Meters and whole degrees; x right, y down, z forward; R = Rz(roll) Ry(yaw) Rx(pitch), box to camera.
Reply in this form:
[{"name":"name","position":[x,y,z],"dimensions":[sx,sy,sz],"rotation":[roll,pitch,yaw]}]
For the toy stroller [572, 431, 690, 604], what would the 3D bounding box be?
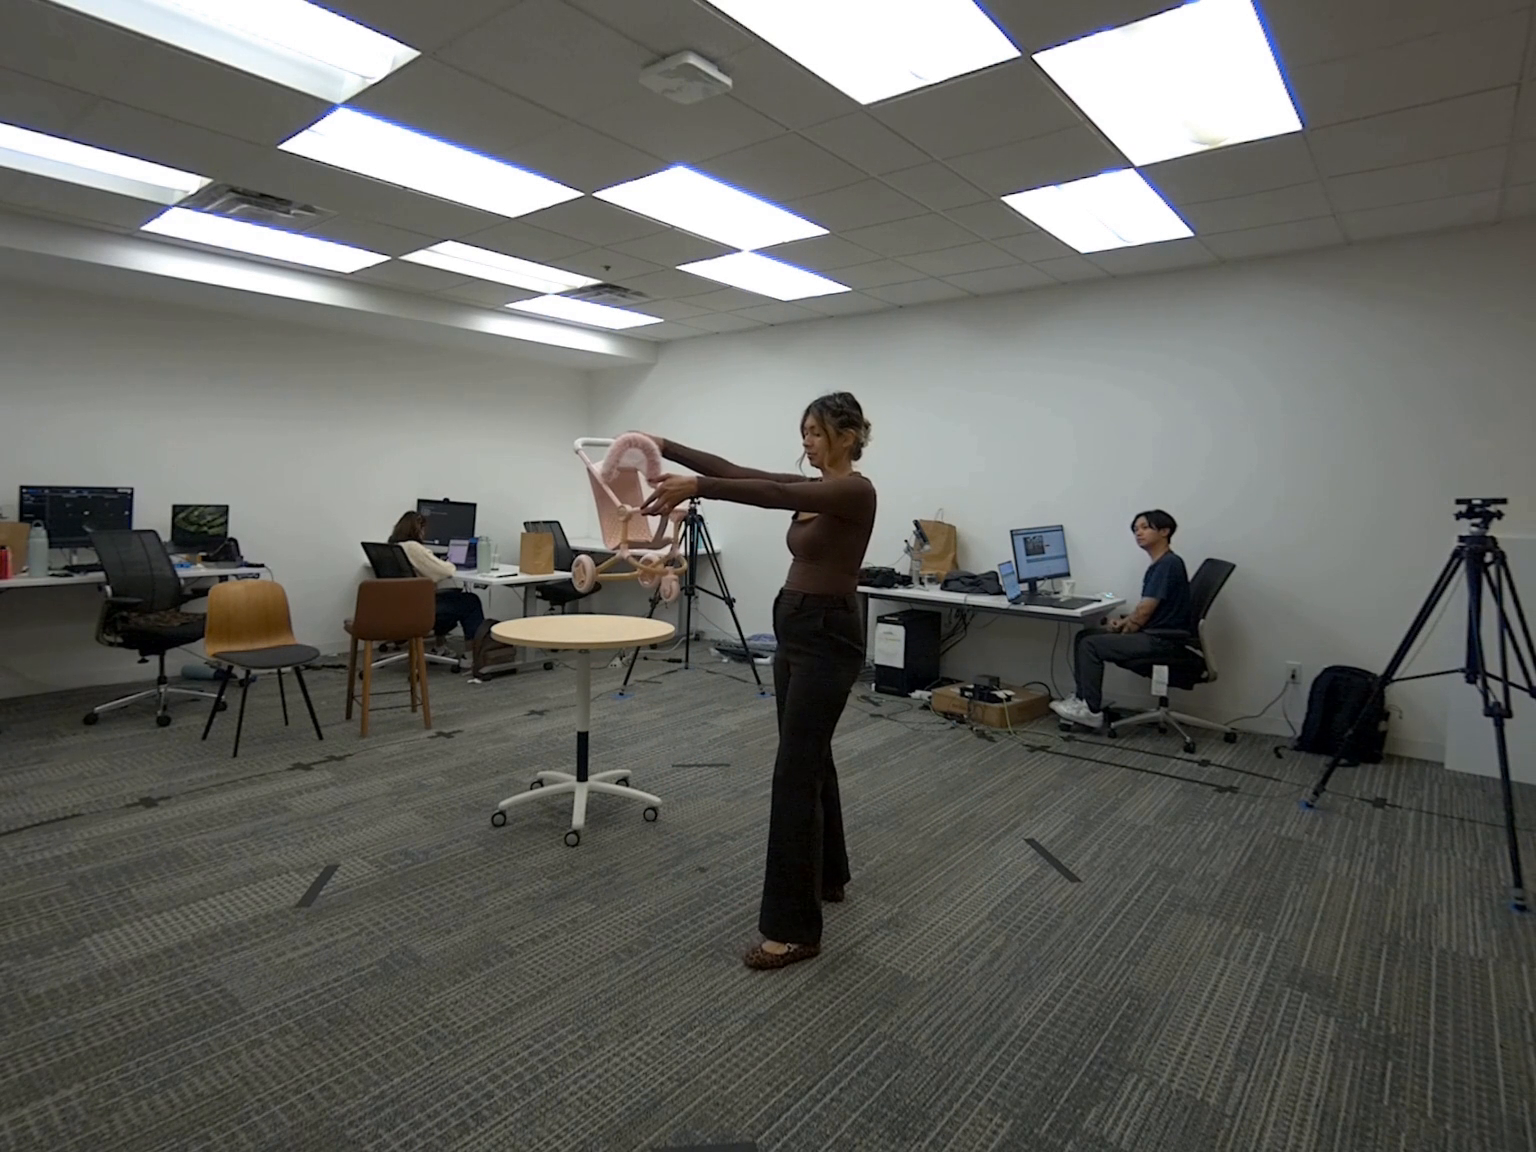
[{"name":"toy stroller","position":[-0.400,-0.175,2.484],"dimensions":[0.273,0.539,0.349],"rotation":[0,-8,-38]}]
